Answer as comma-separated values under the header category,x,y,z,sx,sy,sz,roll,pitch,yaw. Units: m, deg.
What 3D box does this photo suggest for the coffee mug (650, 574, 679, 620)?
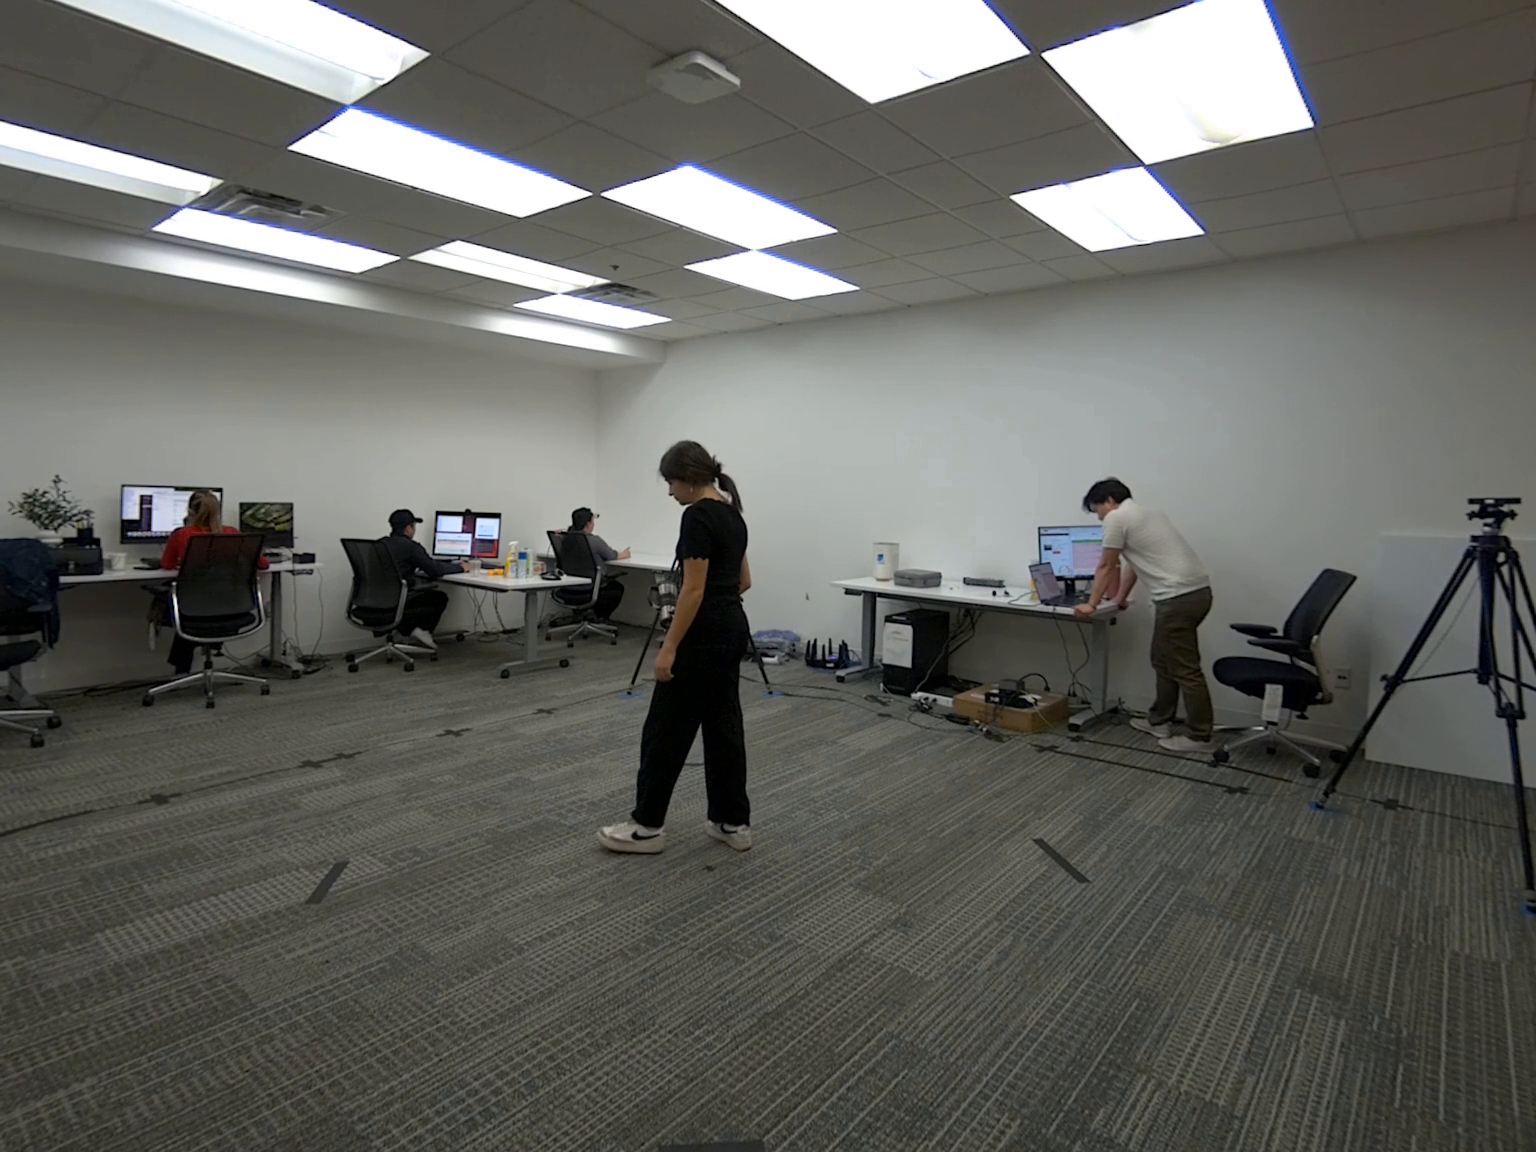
category,x,y,z,sx,sy,sz,roll,pitch,yaw
coffee mug,-0.448,0.122,3.546,0.123,0.209,0.085,-8,-35,6
